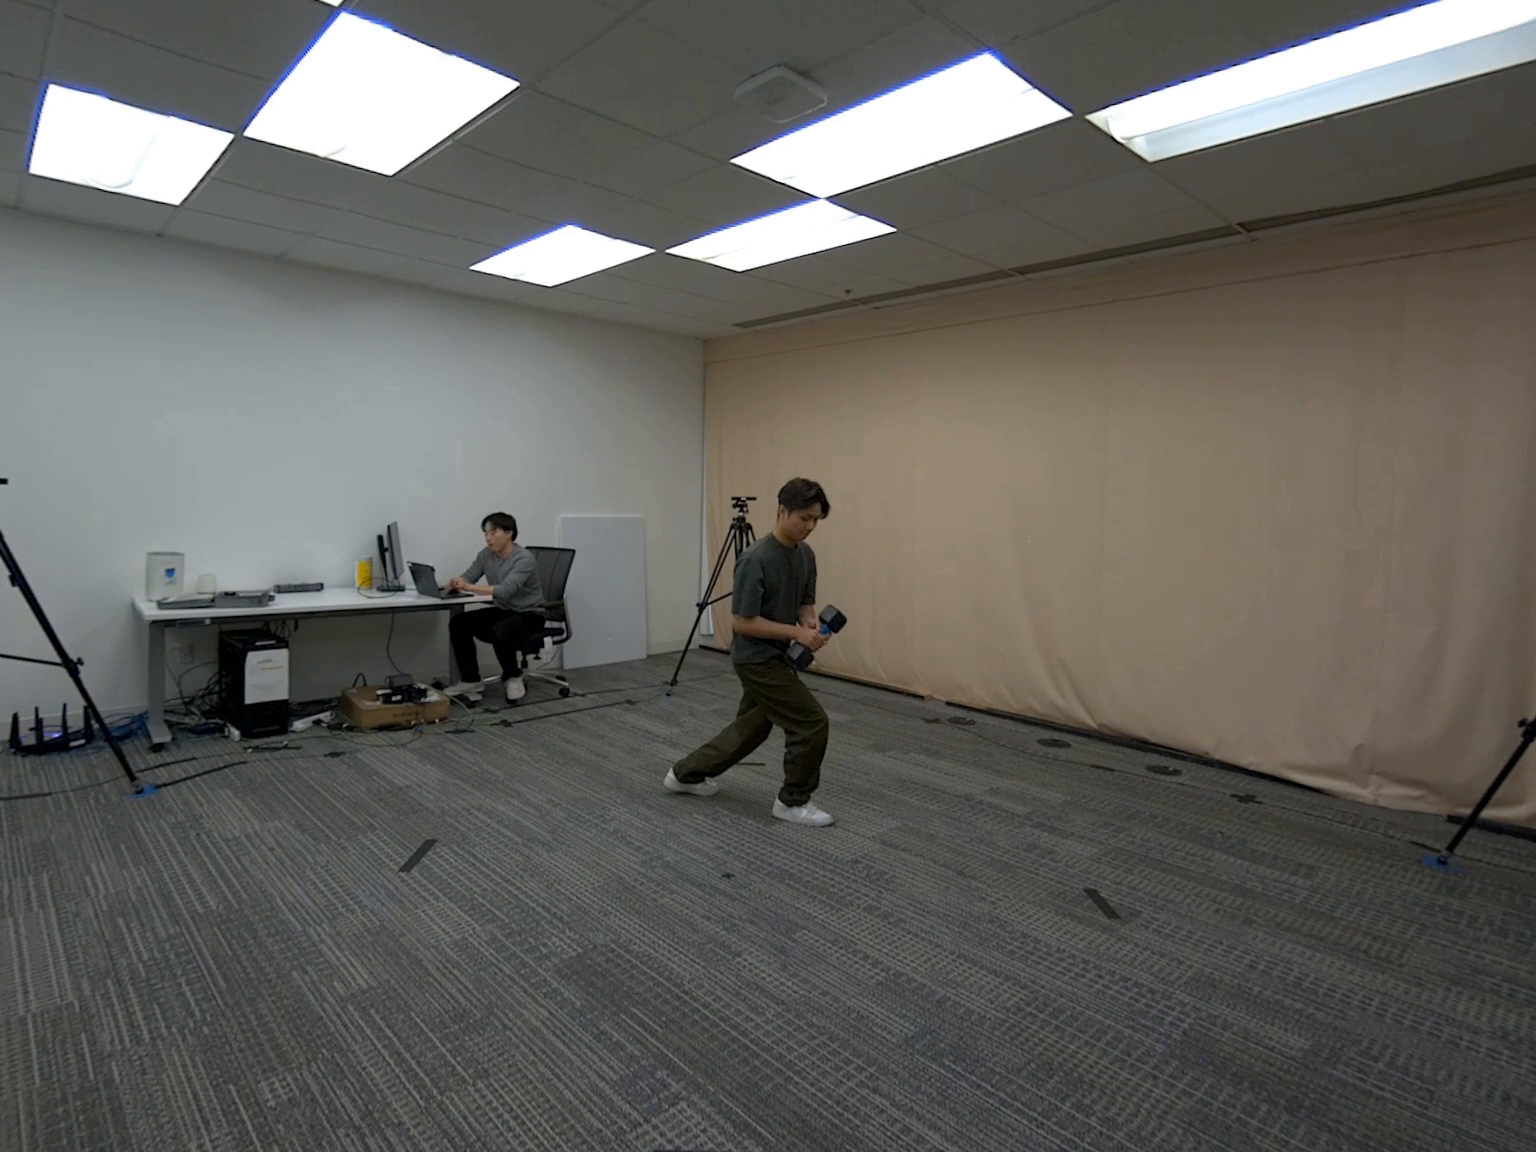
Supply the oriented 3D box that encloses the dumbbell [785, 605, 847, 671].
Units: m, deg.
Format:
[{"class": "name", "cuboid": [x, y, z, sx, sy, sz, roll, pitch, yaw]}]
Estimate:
[{"class": "dumbbell", "cuboid": [0.187, 0.267, 3.589, 0.110, 0.293, 0.121, 40, -11, 10]}]
